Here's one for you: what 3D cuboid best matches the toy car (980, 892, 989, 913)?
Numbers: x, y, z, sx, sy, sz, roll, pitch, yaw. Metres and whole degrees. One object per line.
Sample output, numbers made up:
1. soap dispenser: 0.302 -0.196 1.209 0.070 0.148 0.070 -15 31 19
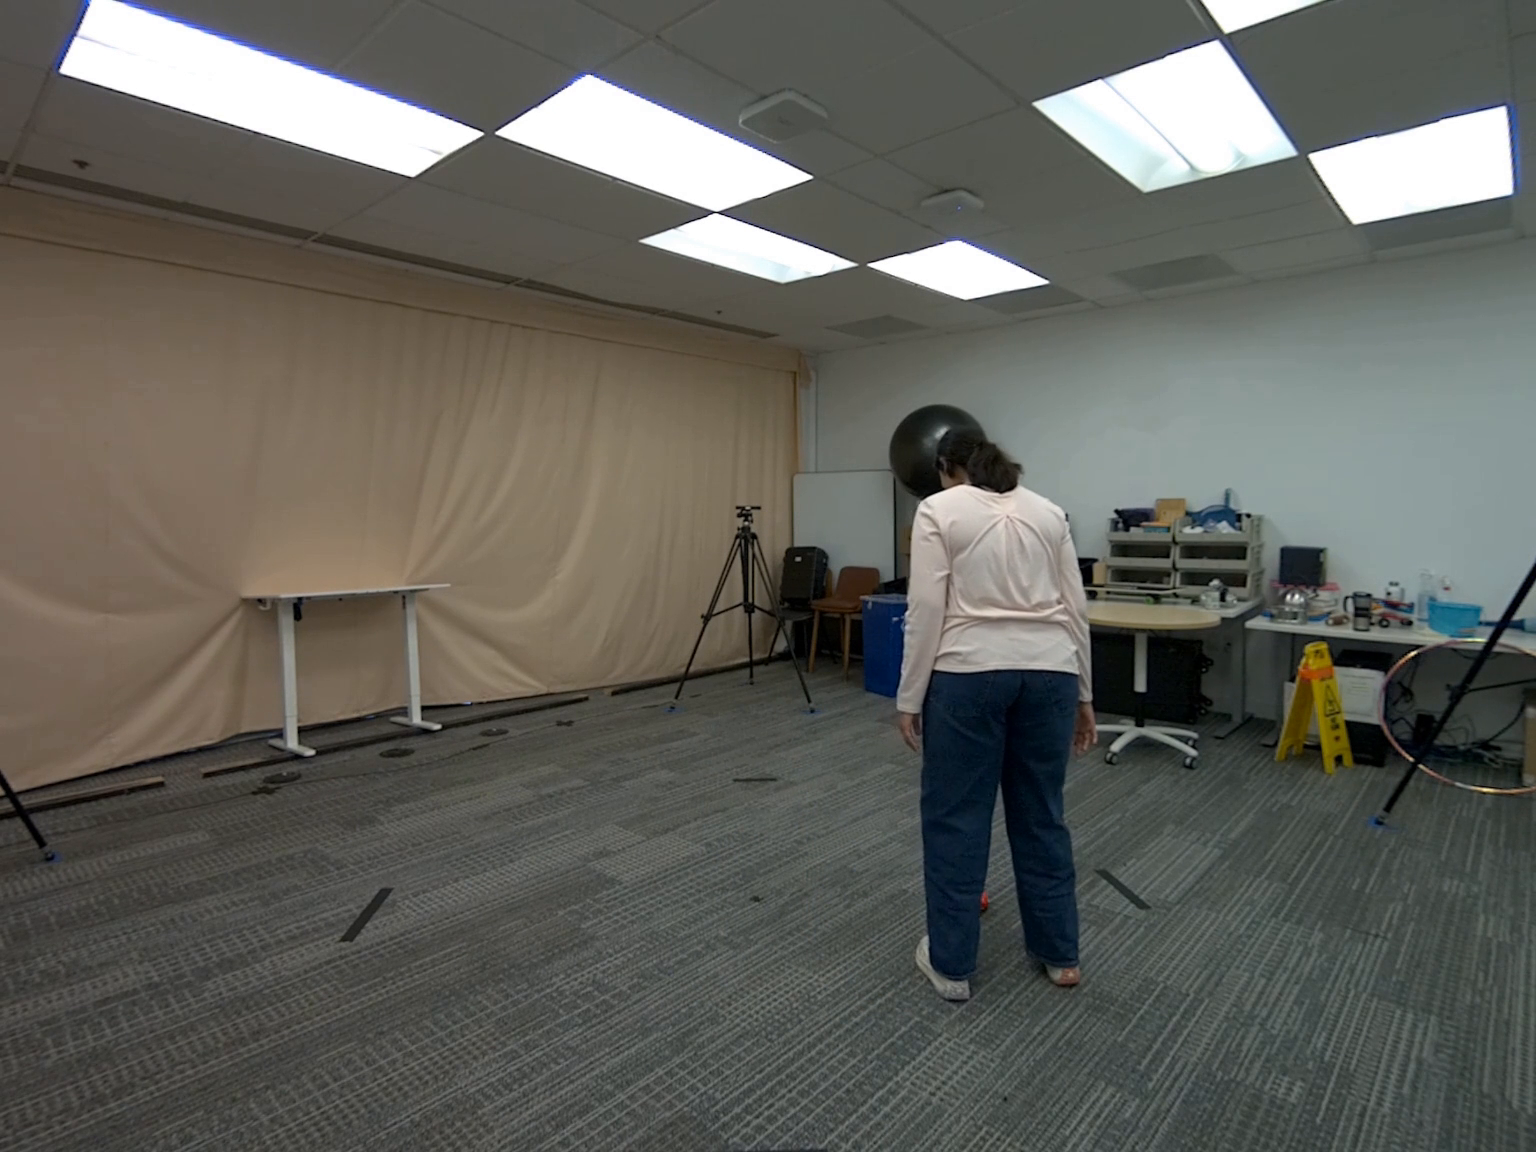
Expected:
1. toy car: 0.714 1.115 2.955 0.131 0.083 0.251 1 -8 5
